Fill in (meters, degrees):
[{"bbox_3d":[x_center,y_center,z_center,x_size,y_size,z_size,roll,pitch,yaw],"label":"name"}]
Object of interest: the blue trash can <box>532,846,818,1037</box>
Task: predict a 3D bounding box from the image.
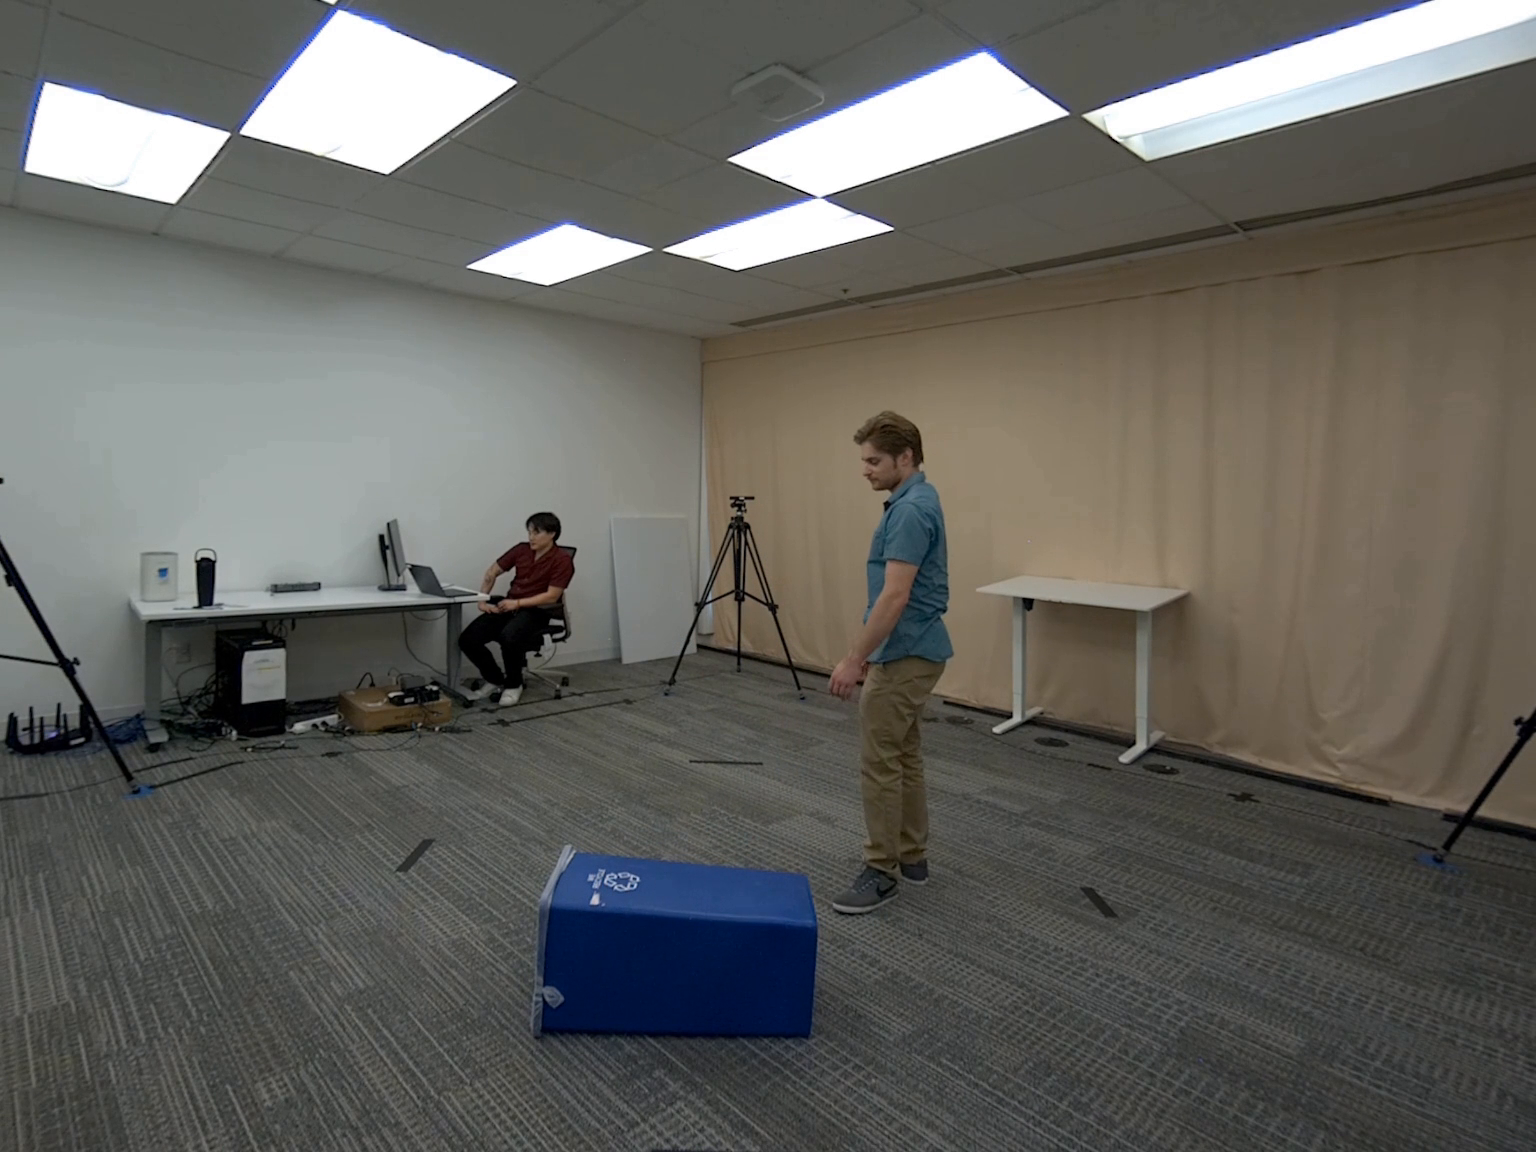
[{"bbox_3d":[-0.250,1.011,2.307,0.713,0.377,0.375,4,4,-1],"label":"blue trash can"}]
